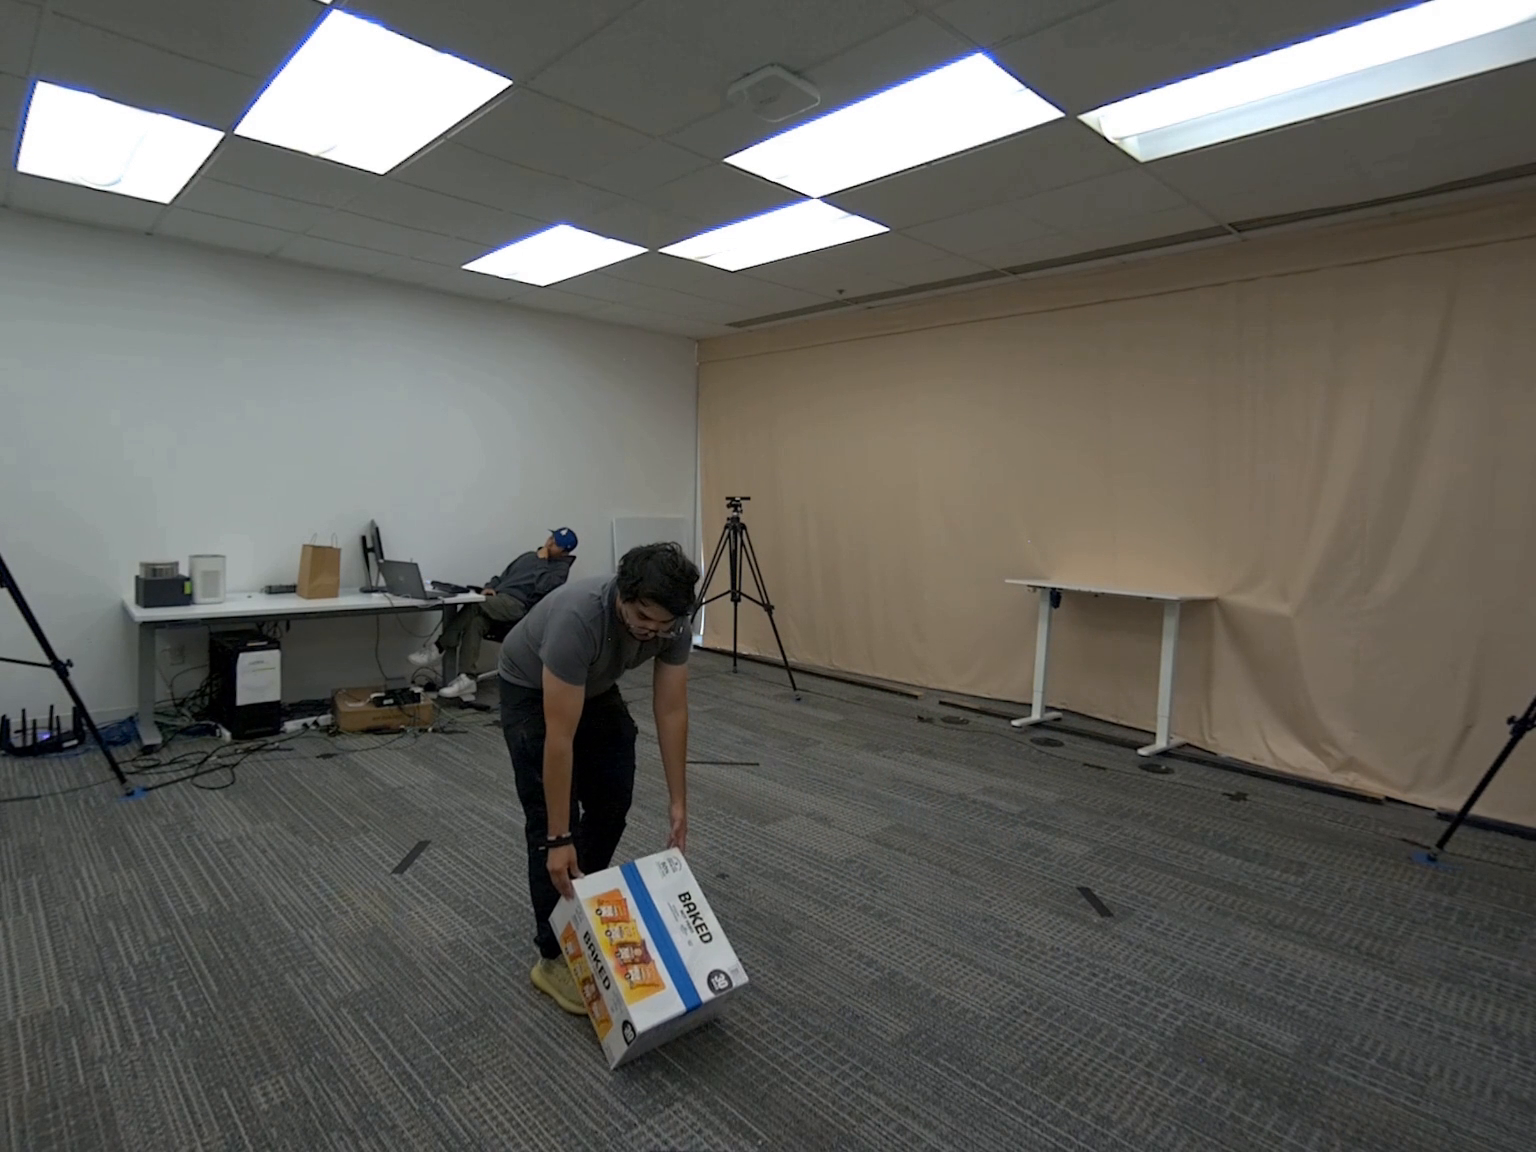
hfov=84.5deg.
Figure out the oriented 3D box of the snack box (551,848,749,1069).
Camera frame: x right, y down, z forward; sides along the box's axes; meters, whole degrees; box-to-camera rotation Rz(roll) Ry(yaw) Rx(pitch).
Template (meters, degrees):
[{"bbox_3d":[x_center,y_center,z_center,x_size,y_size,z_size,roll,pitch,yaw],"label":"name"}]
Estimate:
[{"bbox_3d":[-0.325,0.987,2.206,0.333,0.204,0.417,-4,44,-40],"label":"snack box"}]
